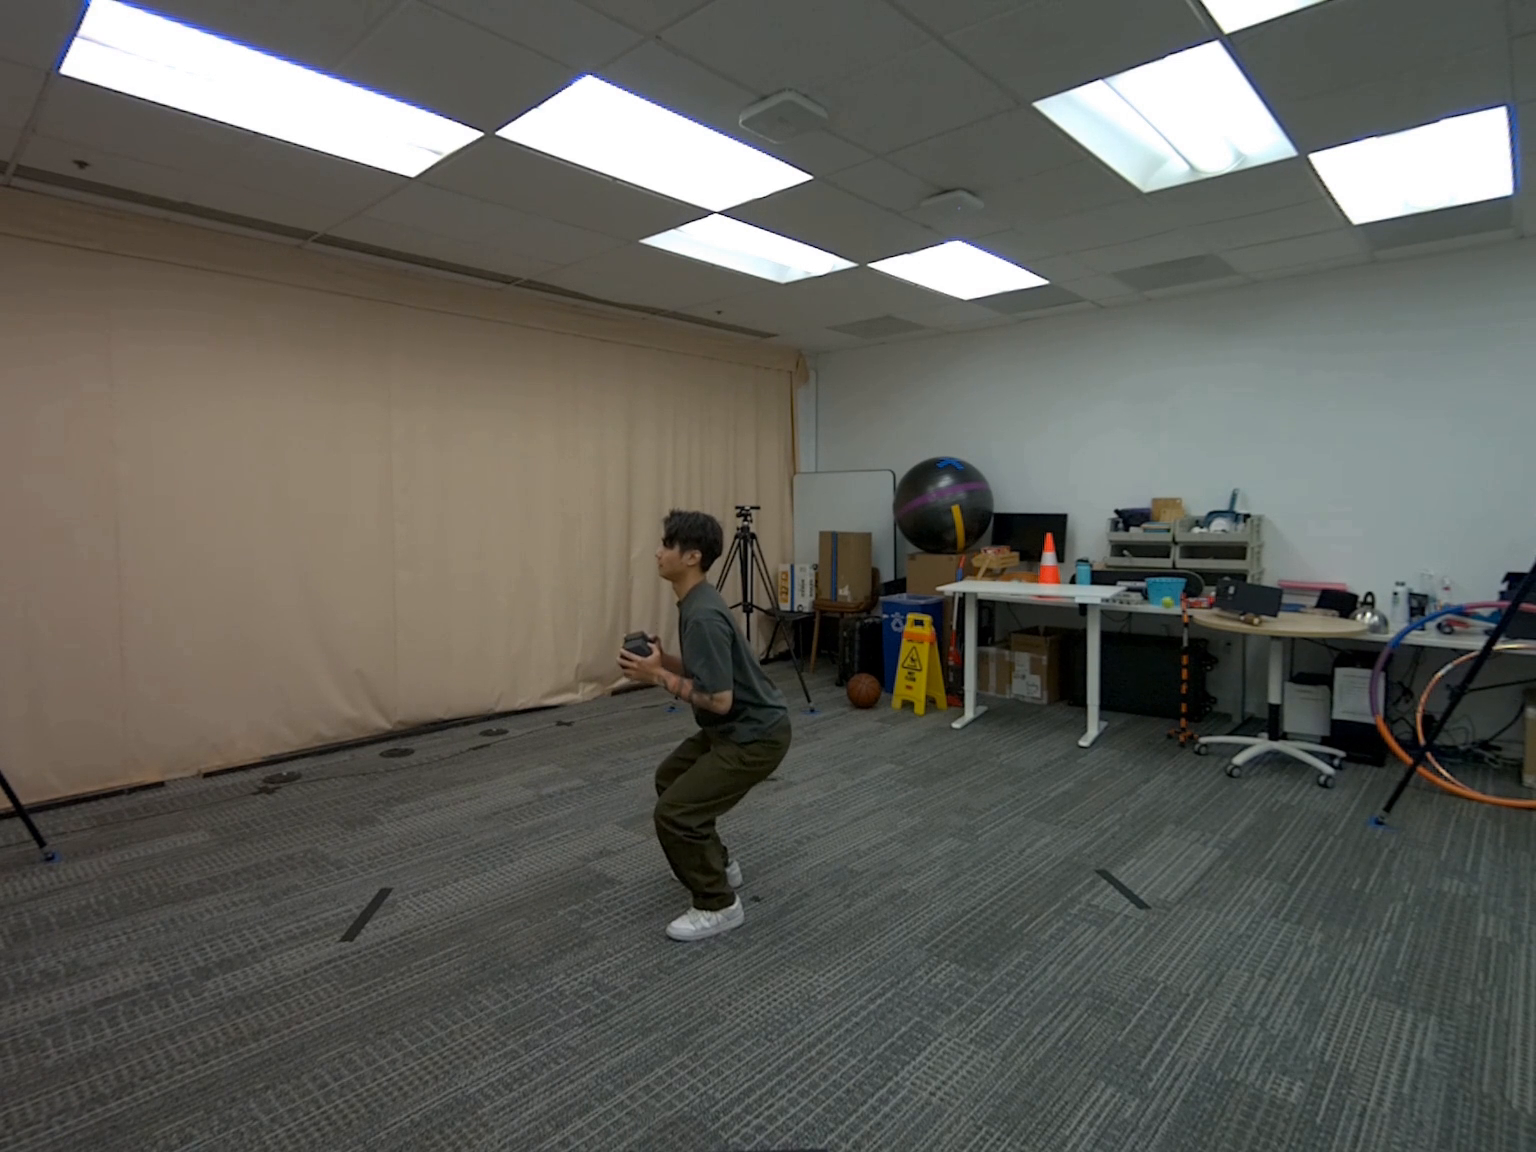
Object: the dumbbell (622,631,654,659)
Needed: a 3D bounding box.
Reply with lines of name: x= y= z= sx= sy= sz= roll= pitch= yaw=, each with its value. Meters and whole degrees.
dumbbell: x=-0.440 y=0.267 z=2.910 sx=0.108 sy=0.122 sz=0.295 roll=-43 pitch=5 yaw=-2
